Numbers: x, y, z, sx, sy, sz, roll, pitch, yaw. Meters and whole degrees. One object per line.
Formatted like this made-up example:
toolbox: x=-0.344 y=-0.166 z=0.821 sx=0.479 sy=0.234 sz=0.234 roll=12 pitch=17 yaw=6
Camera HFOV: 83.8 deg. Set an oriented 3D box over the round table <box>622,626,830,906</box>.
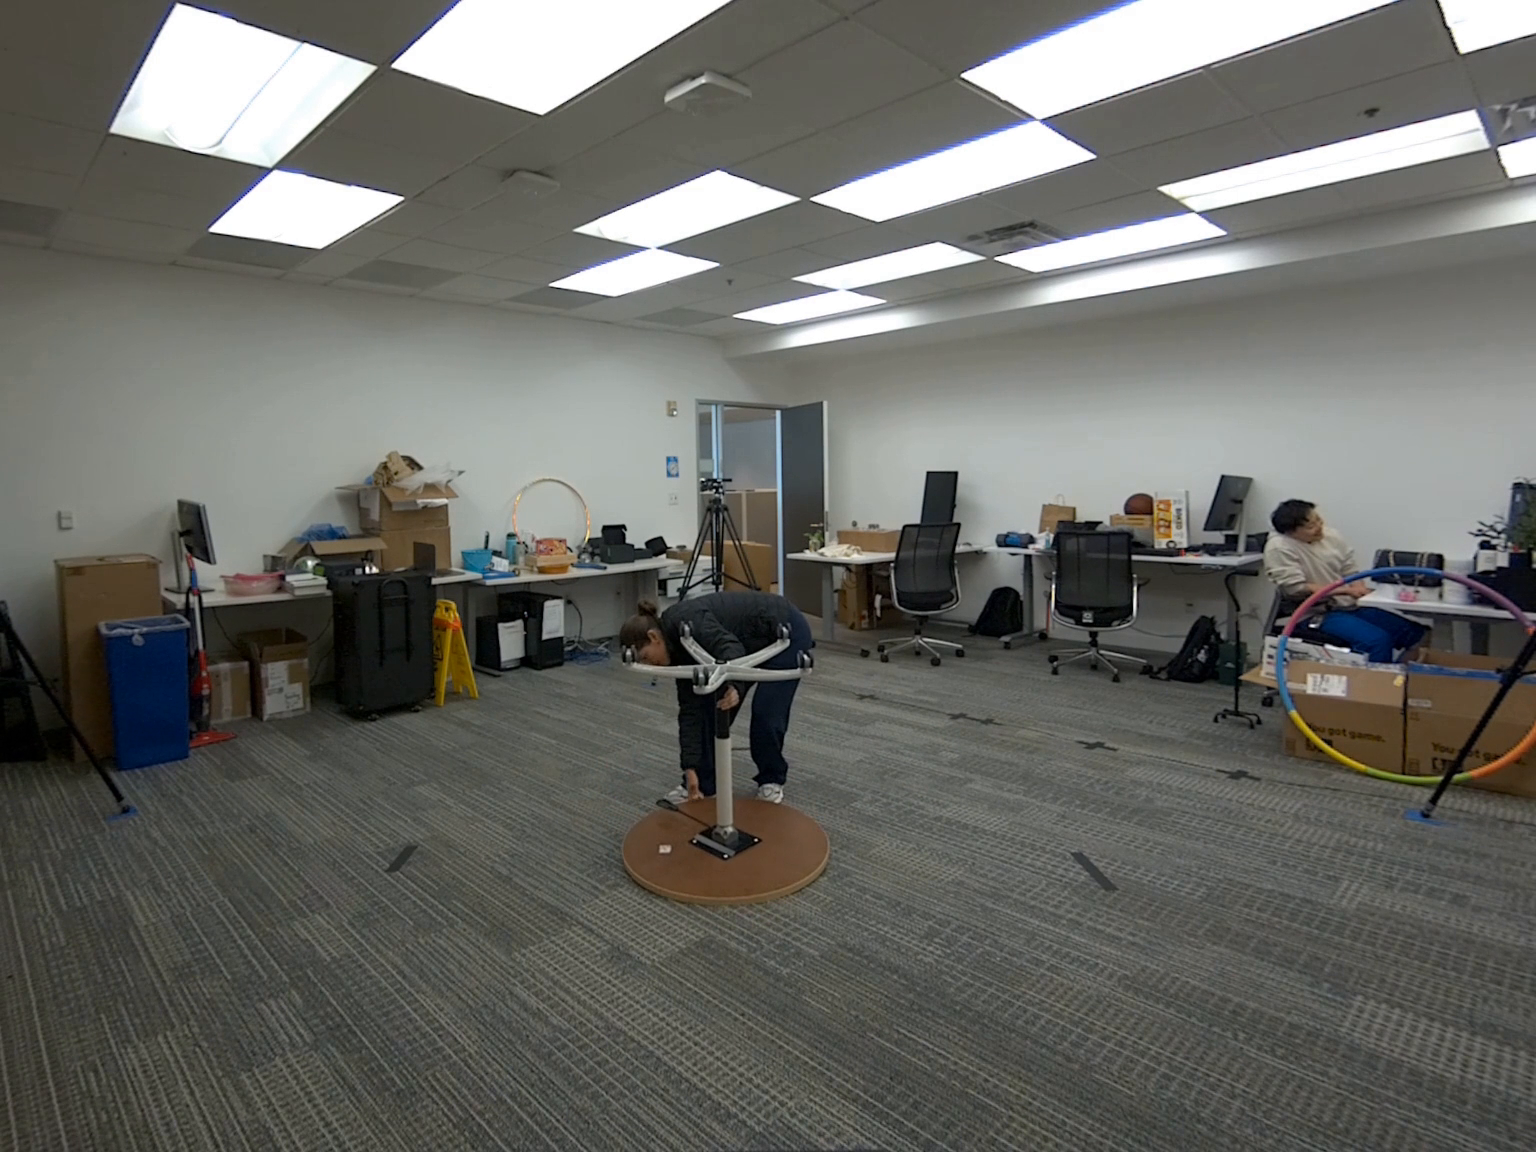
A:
round table: x=-0.171 y=0.624 z=3.145 sx=0.784 sy=0.781 sz=0.791 roll=0 pitch=8 yaw=-2
